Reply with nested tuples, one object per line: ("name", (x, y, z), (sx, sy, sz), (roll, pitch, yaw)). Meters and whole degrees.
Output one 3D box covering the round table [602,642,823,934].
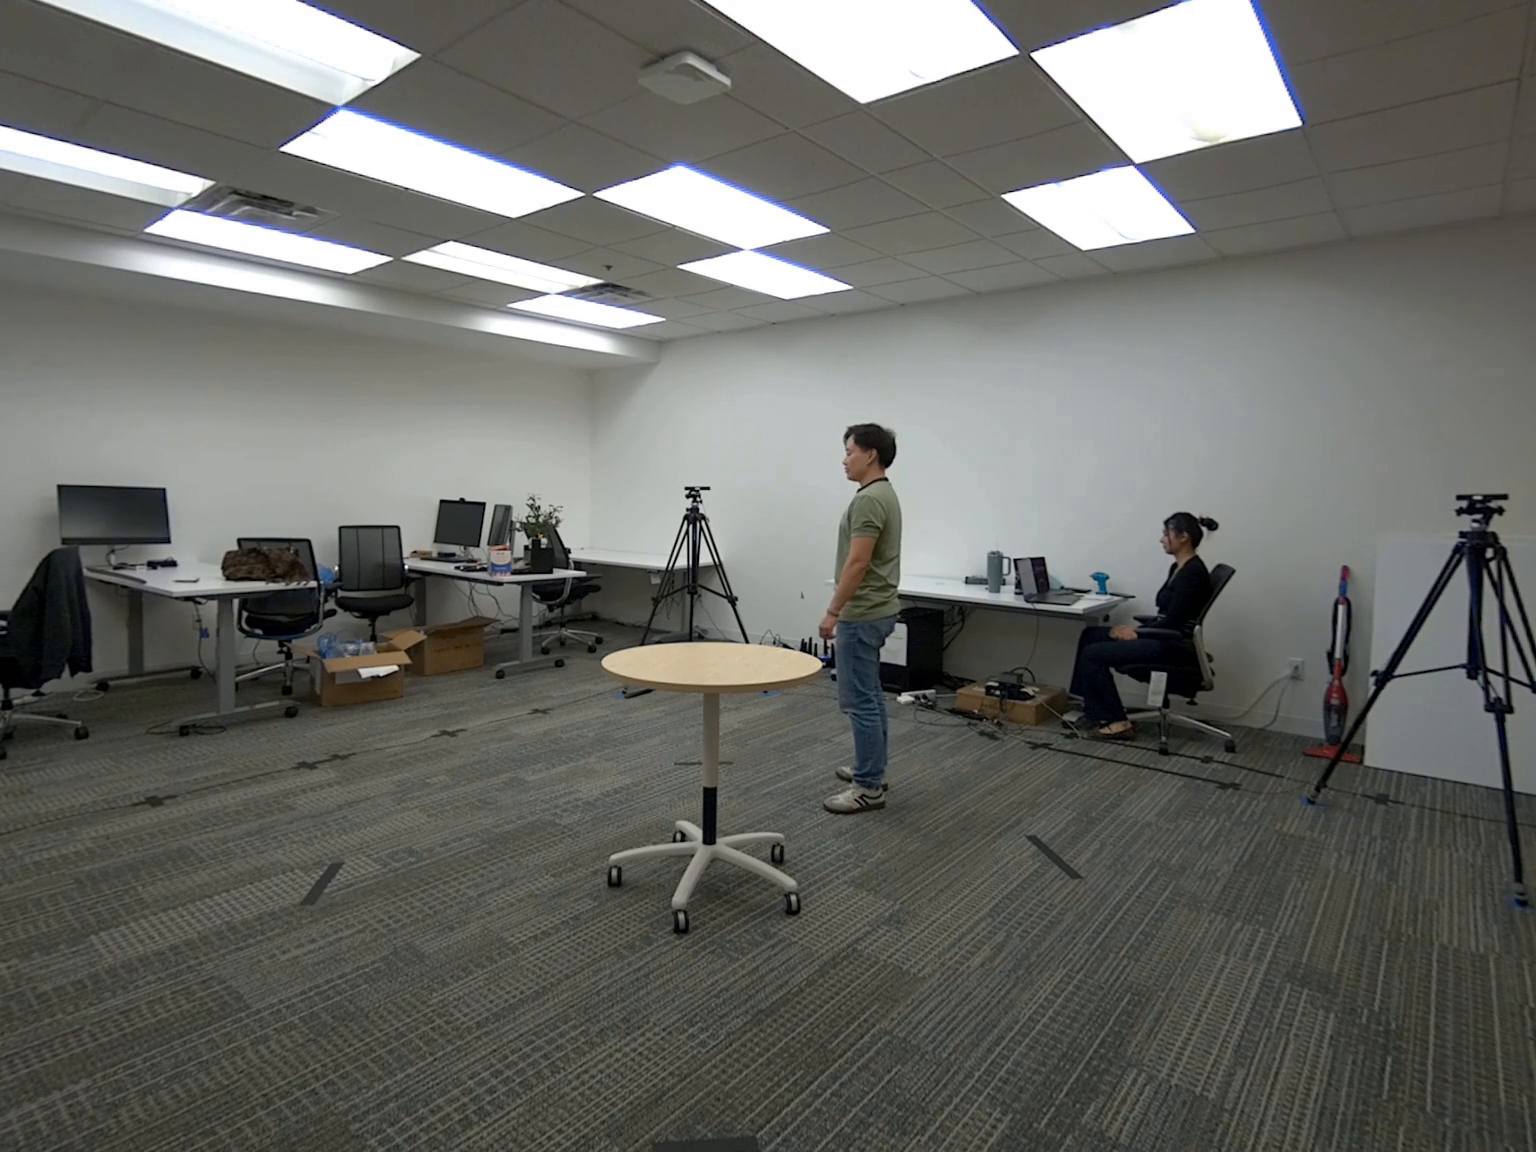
("round table", (-0.215, 0.687, 2.981), (0.763, 0.792, 0.767), (1, 4, -2))
